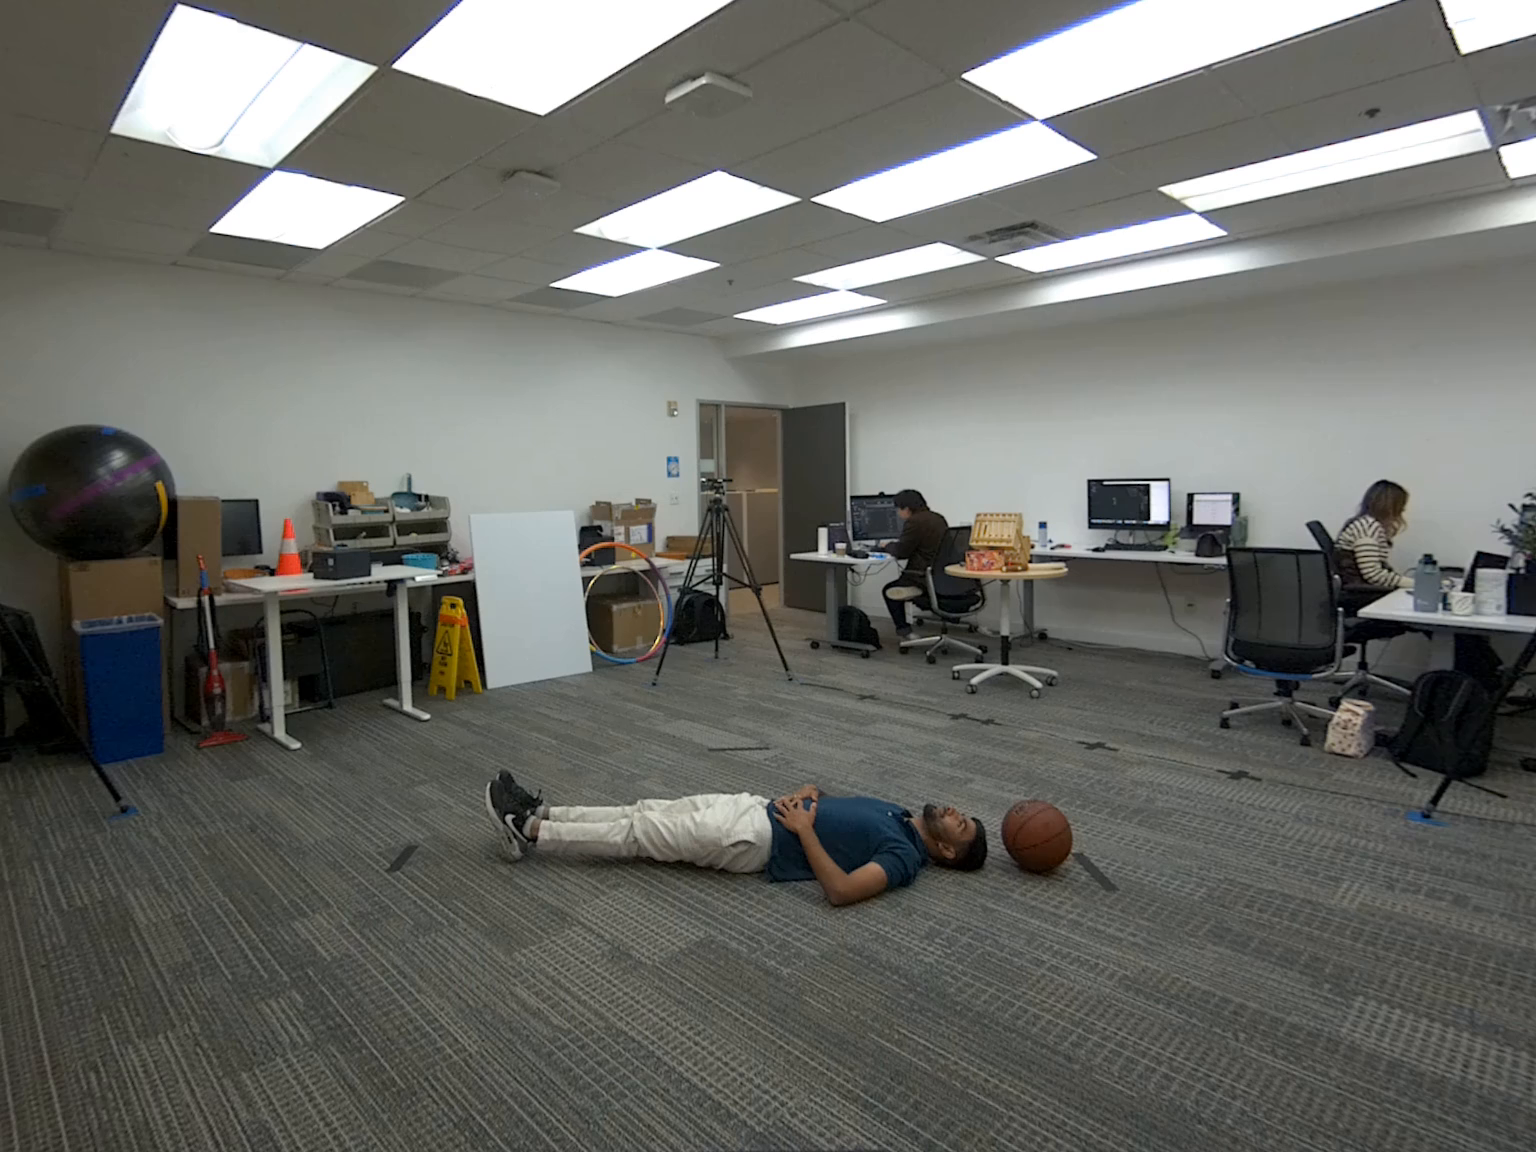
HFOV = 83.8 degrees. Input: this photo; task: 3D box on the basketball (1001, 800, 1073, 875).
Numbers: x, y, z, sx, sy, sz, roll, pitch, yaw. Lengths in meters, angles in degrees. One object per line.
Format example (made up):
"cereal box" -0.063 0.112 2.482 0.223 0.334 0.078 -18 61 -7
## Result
"basketball" 0.957 0.916 3.028 0.236 0.235 0.237 -1 5 -2
